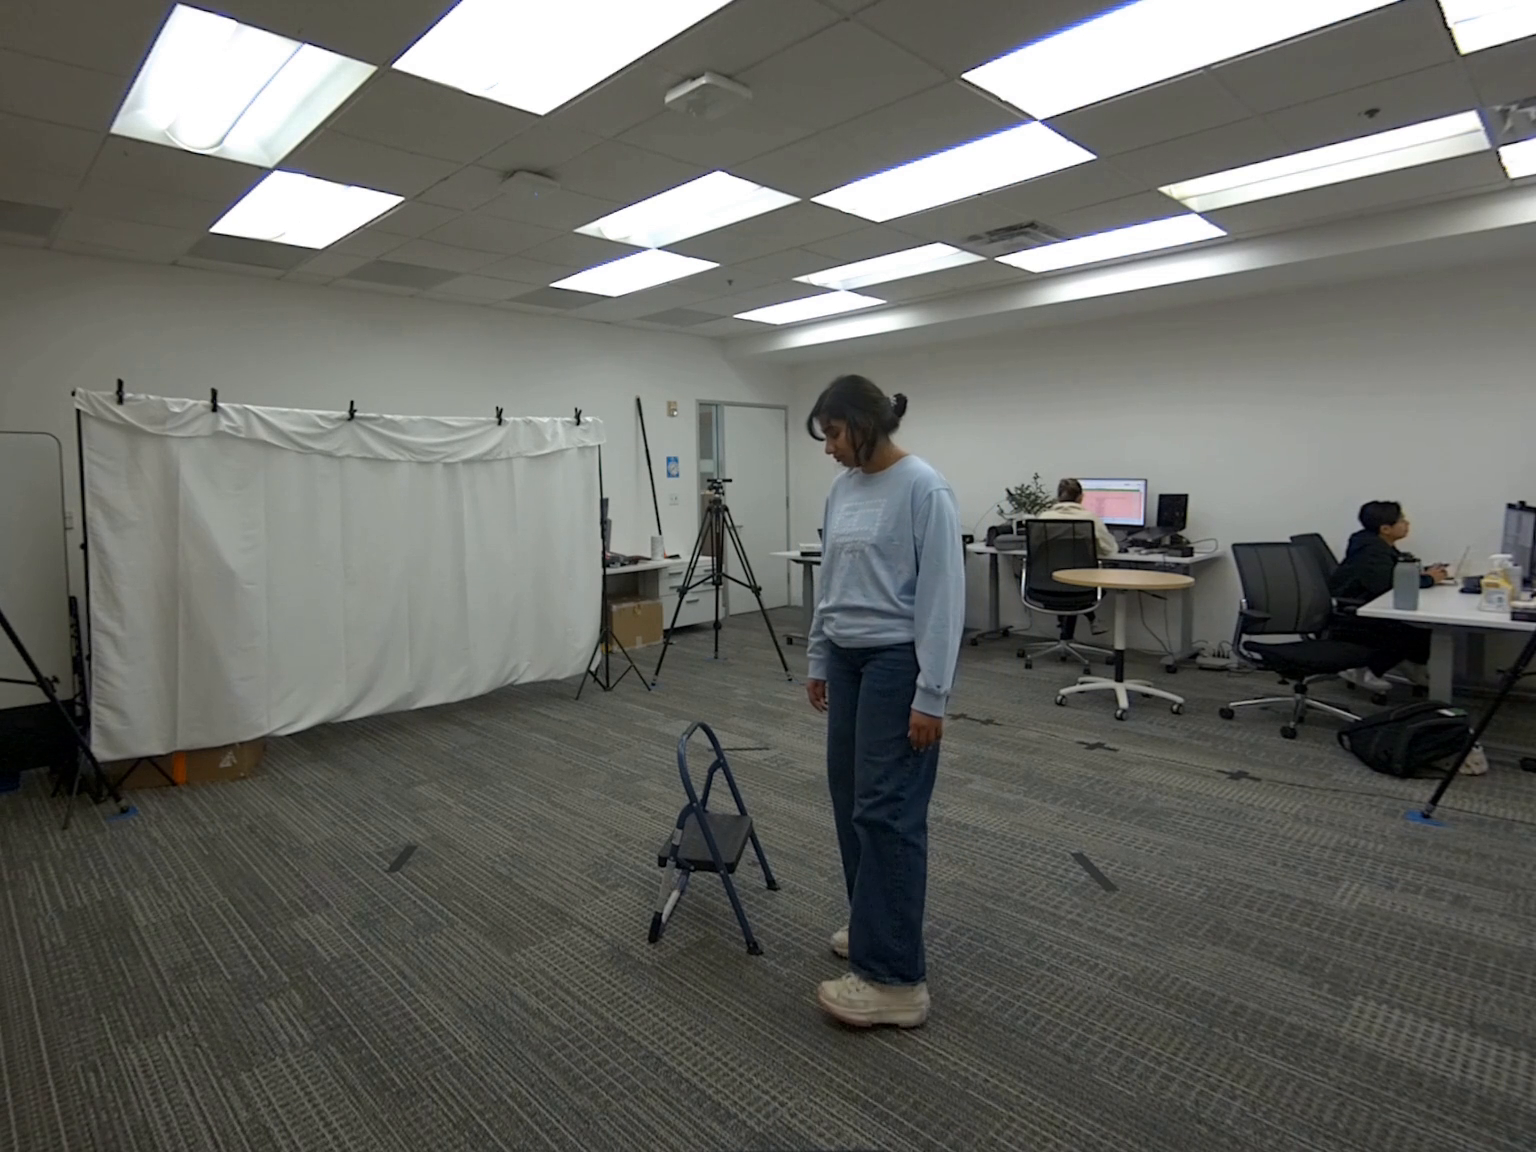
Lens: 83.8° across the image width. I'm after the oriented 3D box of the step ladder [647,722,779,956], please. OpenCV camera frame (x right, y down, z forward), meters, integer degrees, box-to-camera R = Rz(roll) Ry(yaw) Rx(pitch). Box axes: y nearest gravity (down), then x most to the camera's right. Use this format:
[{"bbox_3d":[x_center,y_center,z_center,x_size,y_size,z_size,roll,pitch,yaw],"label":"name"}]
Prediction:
[{"bbox_3d":[-0.169,0.790,2.732,0.353,0.604,0.428,0,5,10],"label":"step ladder"}]
